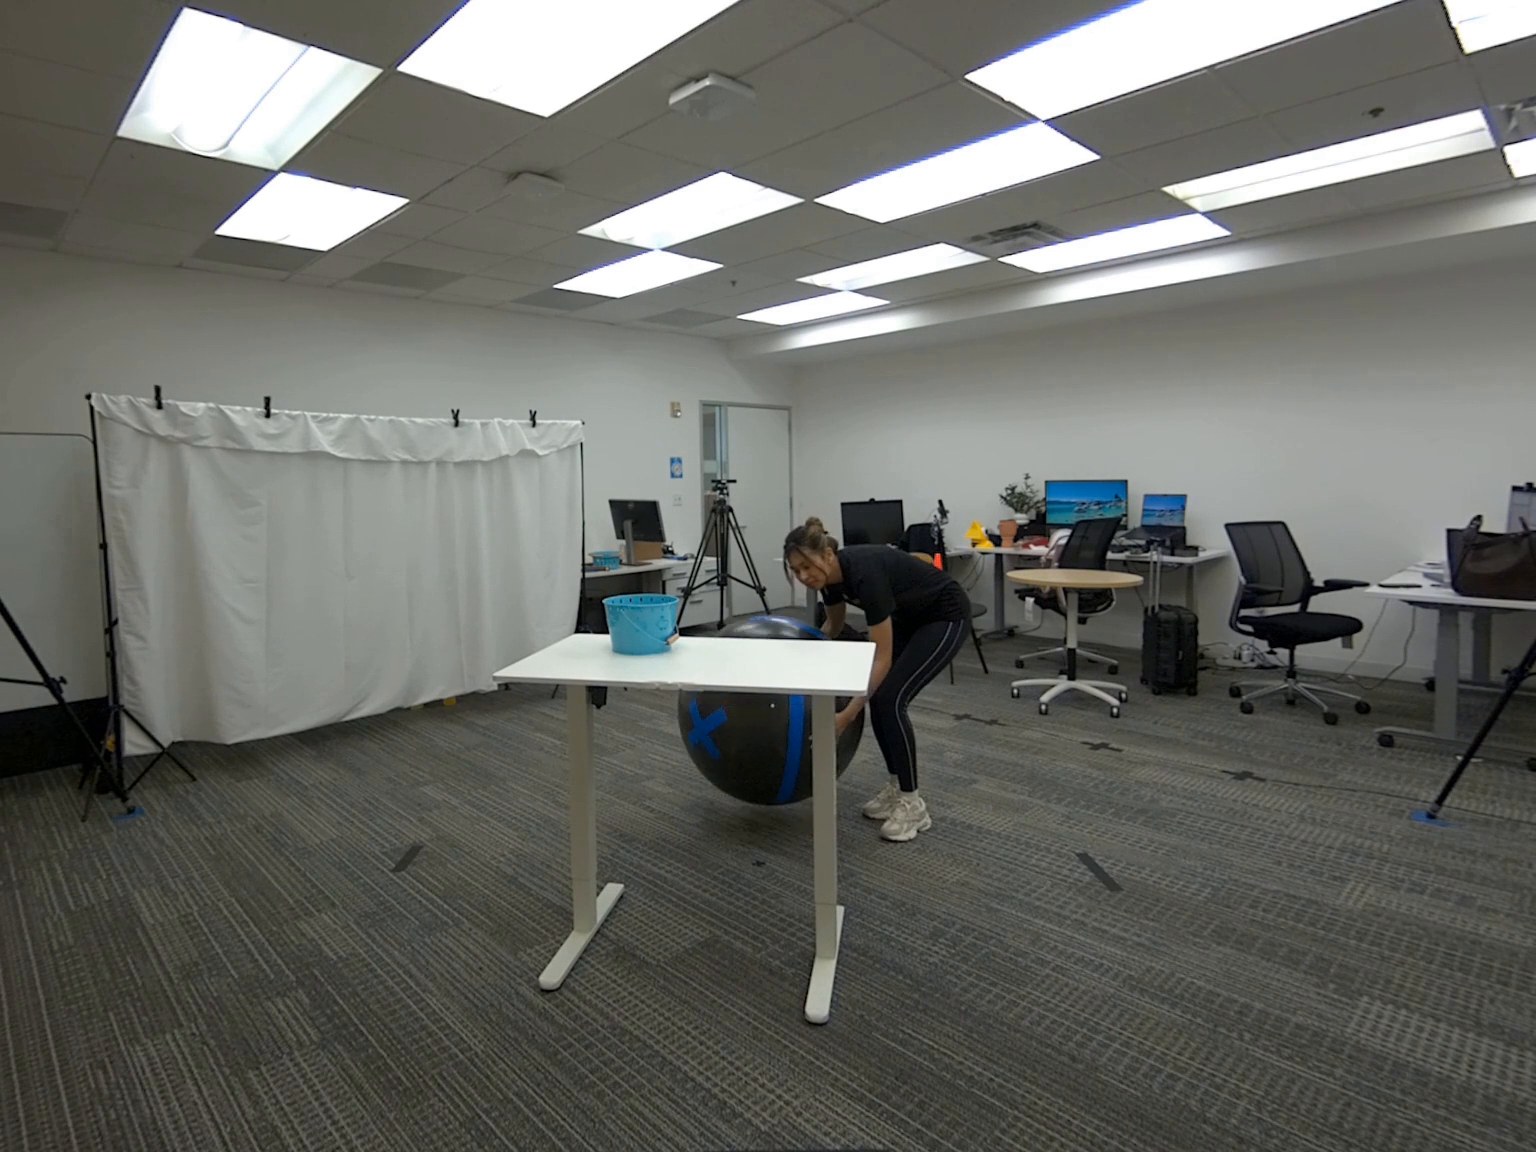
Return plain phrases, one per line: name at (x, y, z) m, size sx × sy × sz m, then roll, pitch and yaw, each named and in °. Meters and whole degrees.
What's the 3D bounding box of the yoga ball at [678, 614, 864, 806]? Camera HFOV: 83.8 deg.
yoga ball at (0.006, 0.547, 3.500) m, size 0.757 × 0.755 × 0.762 m, roll -1°, pitch 5°, yaw -2°
